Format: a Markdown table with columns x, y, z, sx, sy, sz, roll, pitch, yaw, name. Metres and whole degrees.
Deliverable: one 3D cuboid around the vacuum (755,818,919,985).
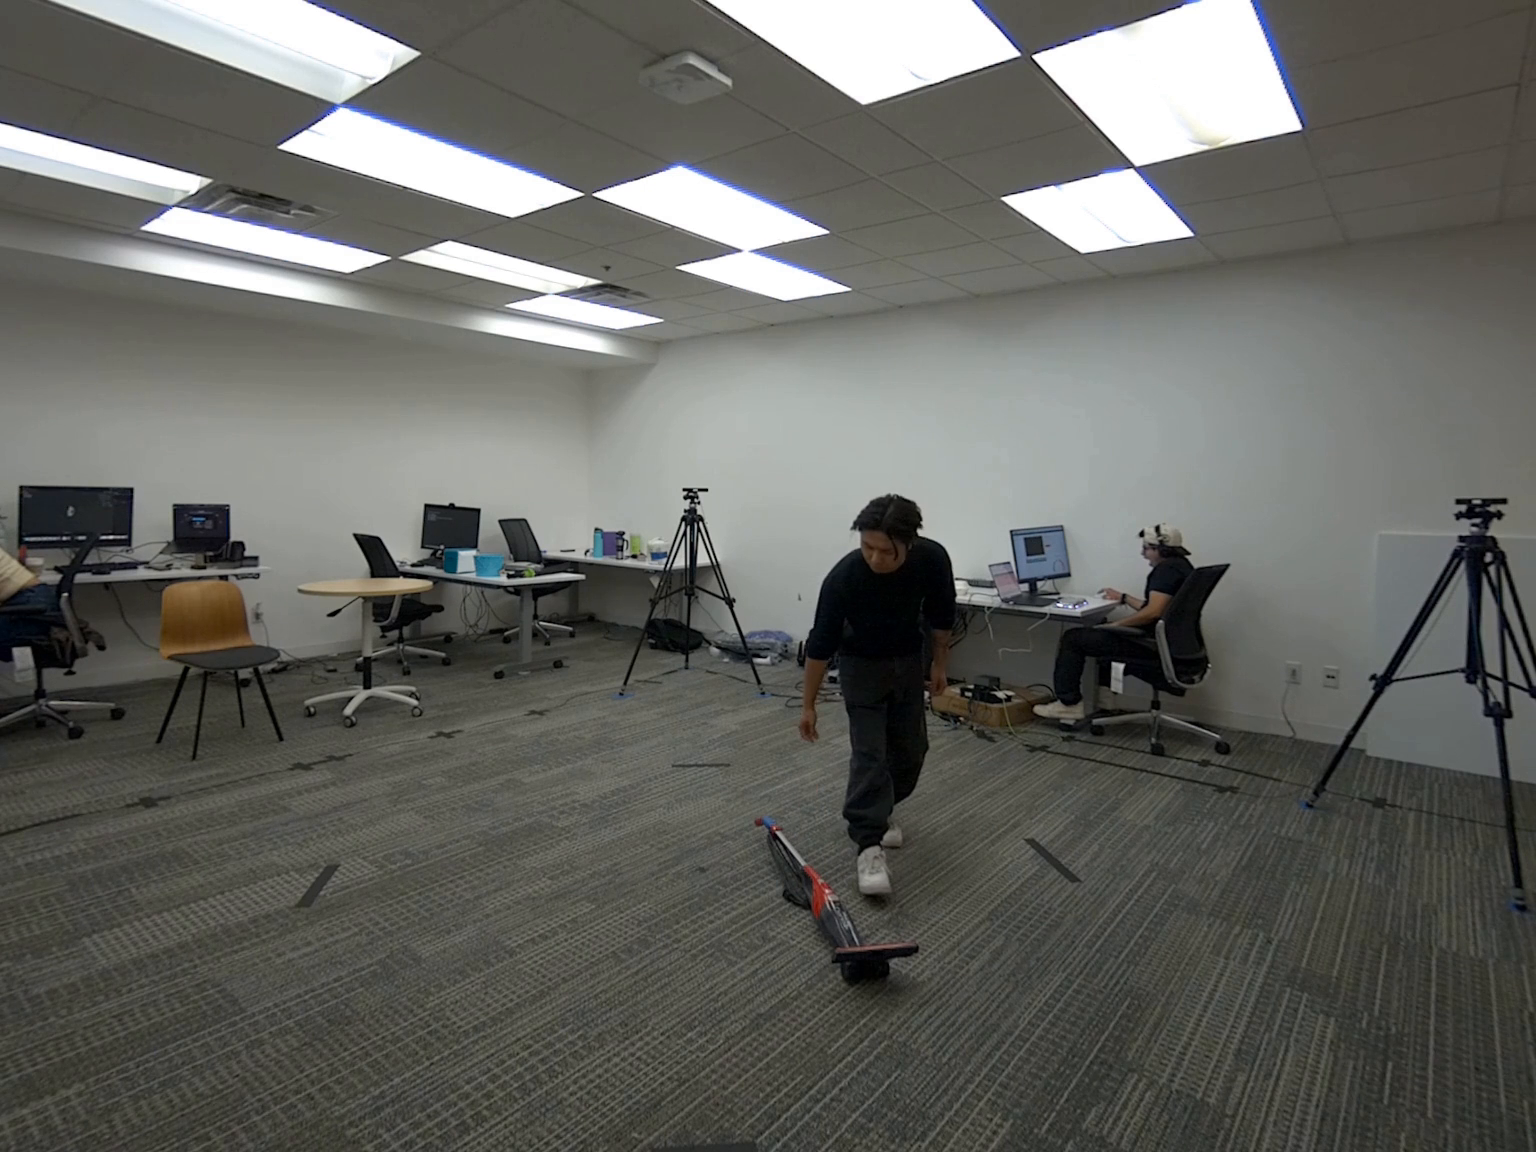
| x | y | z | sx | sy | sz | roll | pitch | yaw | name |
| --- | --- | --- | --- | --- | --- | --- | --- | --- | --- |
| 0.117 | 1.033 | 2.900 | 0.247 | 0.144 | 1.072 | 7 | 2 | -19 | vacuum |
